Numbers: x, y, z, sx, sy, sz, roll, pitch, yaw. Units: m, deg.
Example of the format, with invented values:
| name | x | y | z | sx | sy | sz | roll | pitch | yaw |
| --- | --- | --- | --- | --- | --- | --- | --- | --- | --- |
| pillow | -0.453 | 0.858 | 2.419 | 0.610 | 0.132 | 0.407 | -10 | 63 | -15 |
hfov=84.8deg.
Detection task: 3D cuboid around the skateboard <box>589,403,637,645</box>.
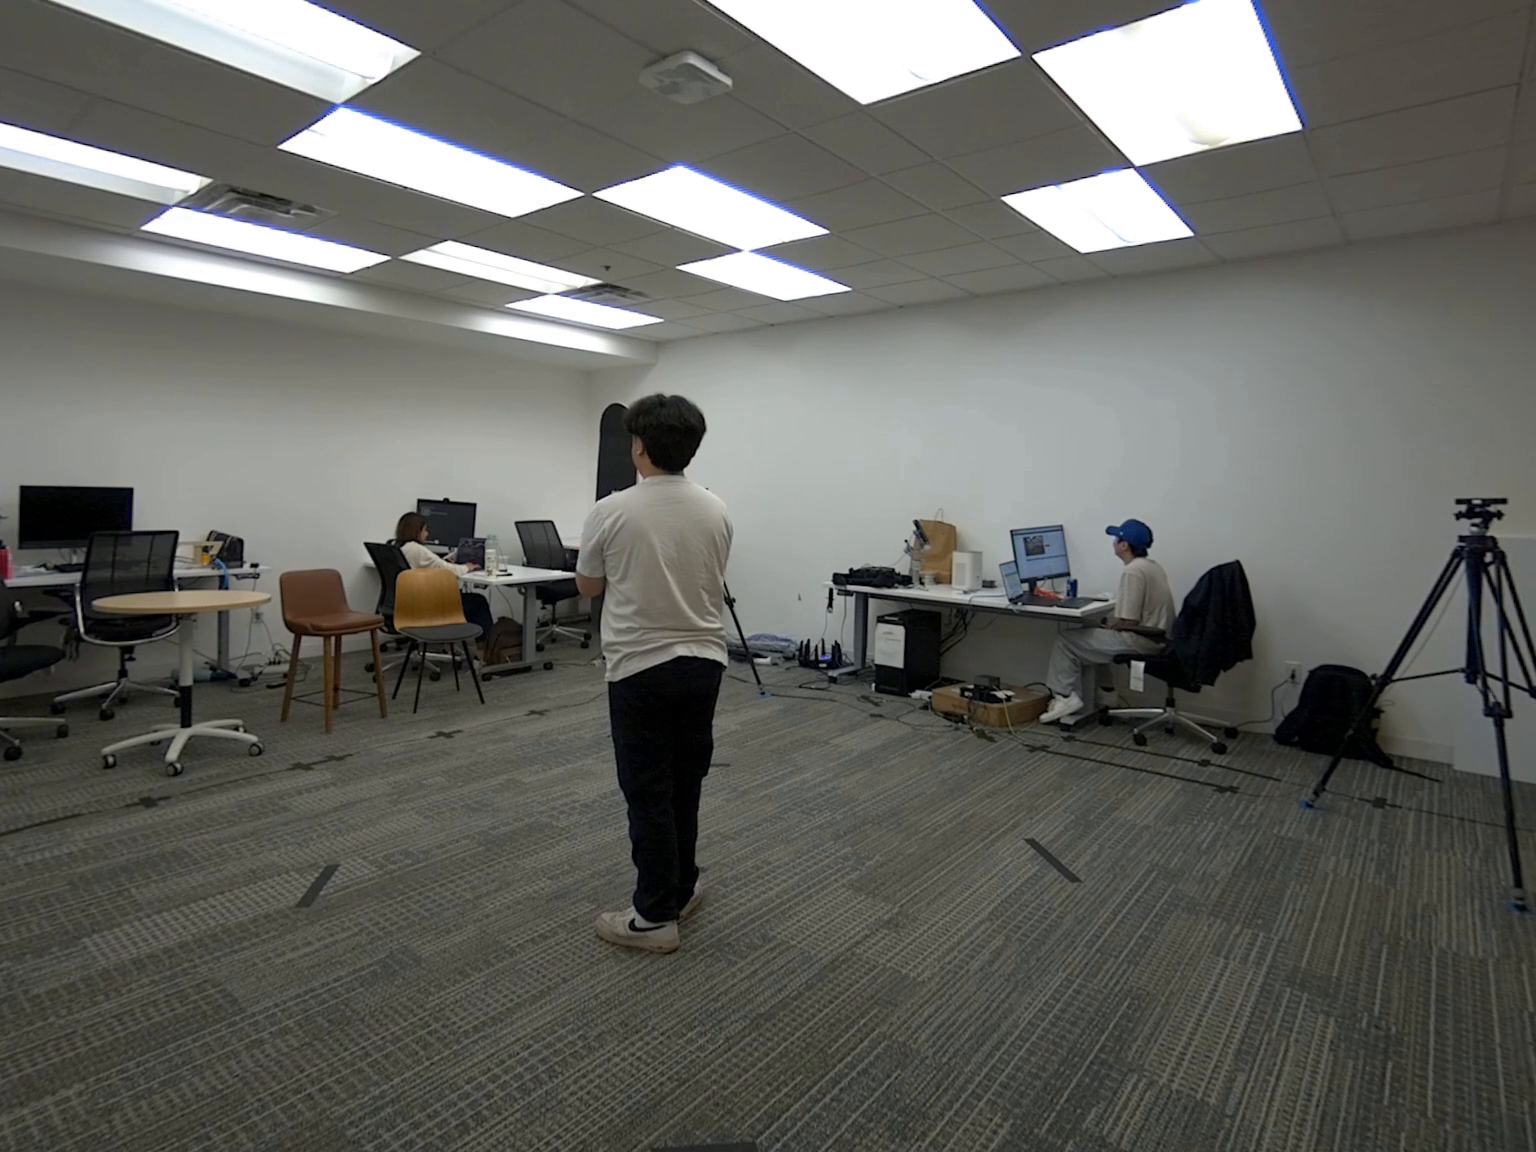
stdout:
| name | x | y | z | sx | sy | sz | roll | pitch | yaw |
| --- | --- | --- | --- | --- | --- | --- | --- | --- | --- |
| skateboard | -0.517 | -0.192 | 2.919 | 0.200 | 0.783 | 0.107 | 7 | 3 | 38 |
